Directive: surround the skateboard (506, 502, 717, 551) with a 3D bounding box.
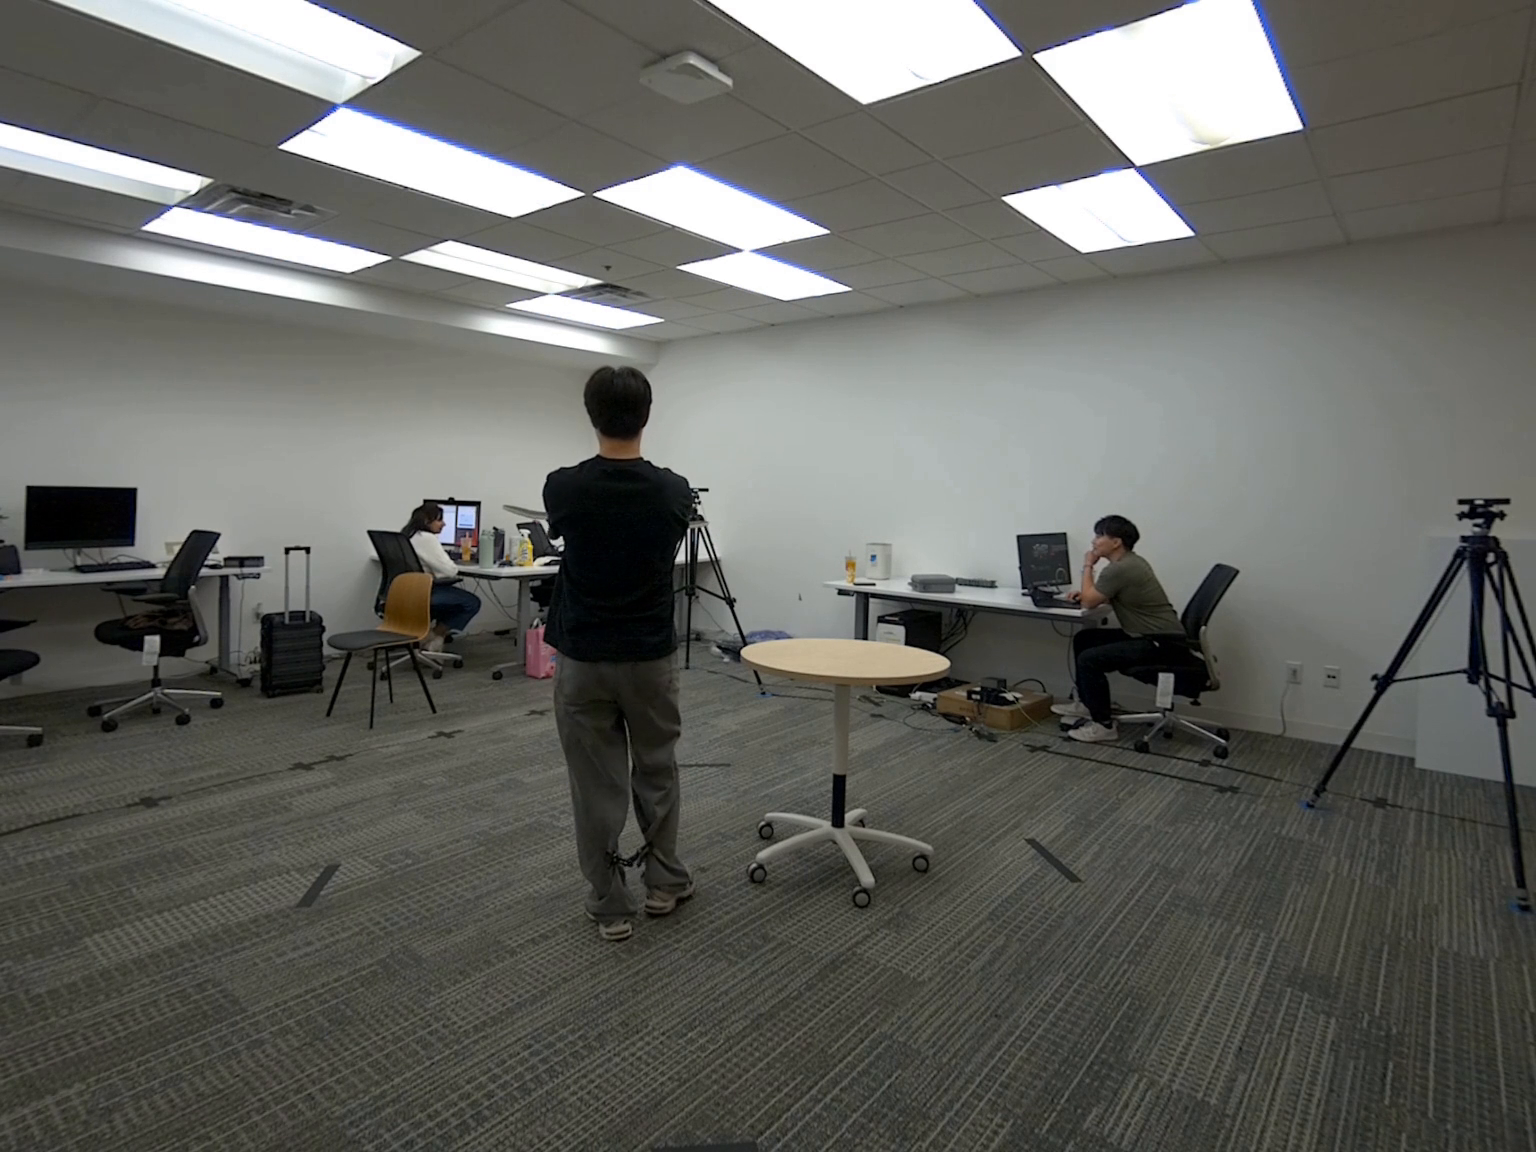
[{"bbox_3d":[-0.611,-0.194,3.284,0.776,0.110,0.197,4,7,-11],"label":"skateboard"}]
